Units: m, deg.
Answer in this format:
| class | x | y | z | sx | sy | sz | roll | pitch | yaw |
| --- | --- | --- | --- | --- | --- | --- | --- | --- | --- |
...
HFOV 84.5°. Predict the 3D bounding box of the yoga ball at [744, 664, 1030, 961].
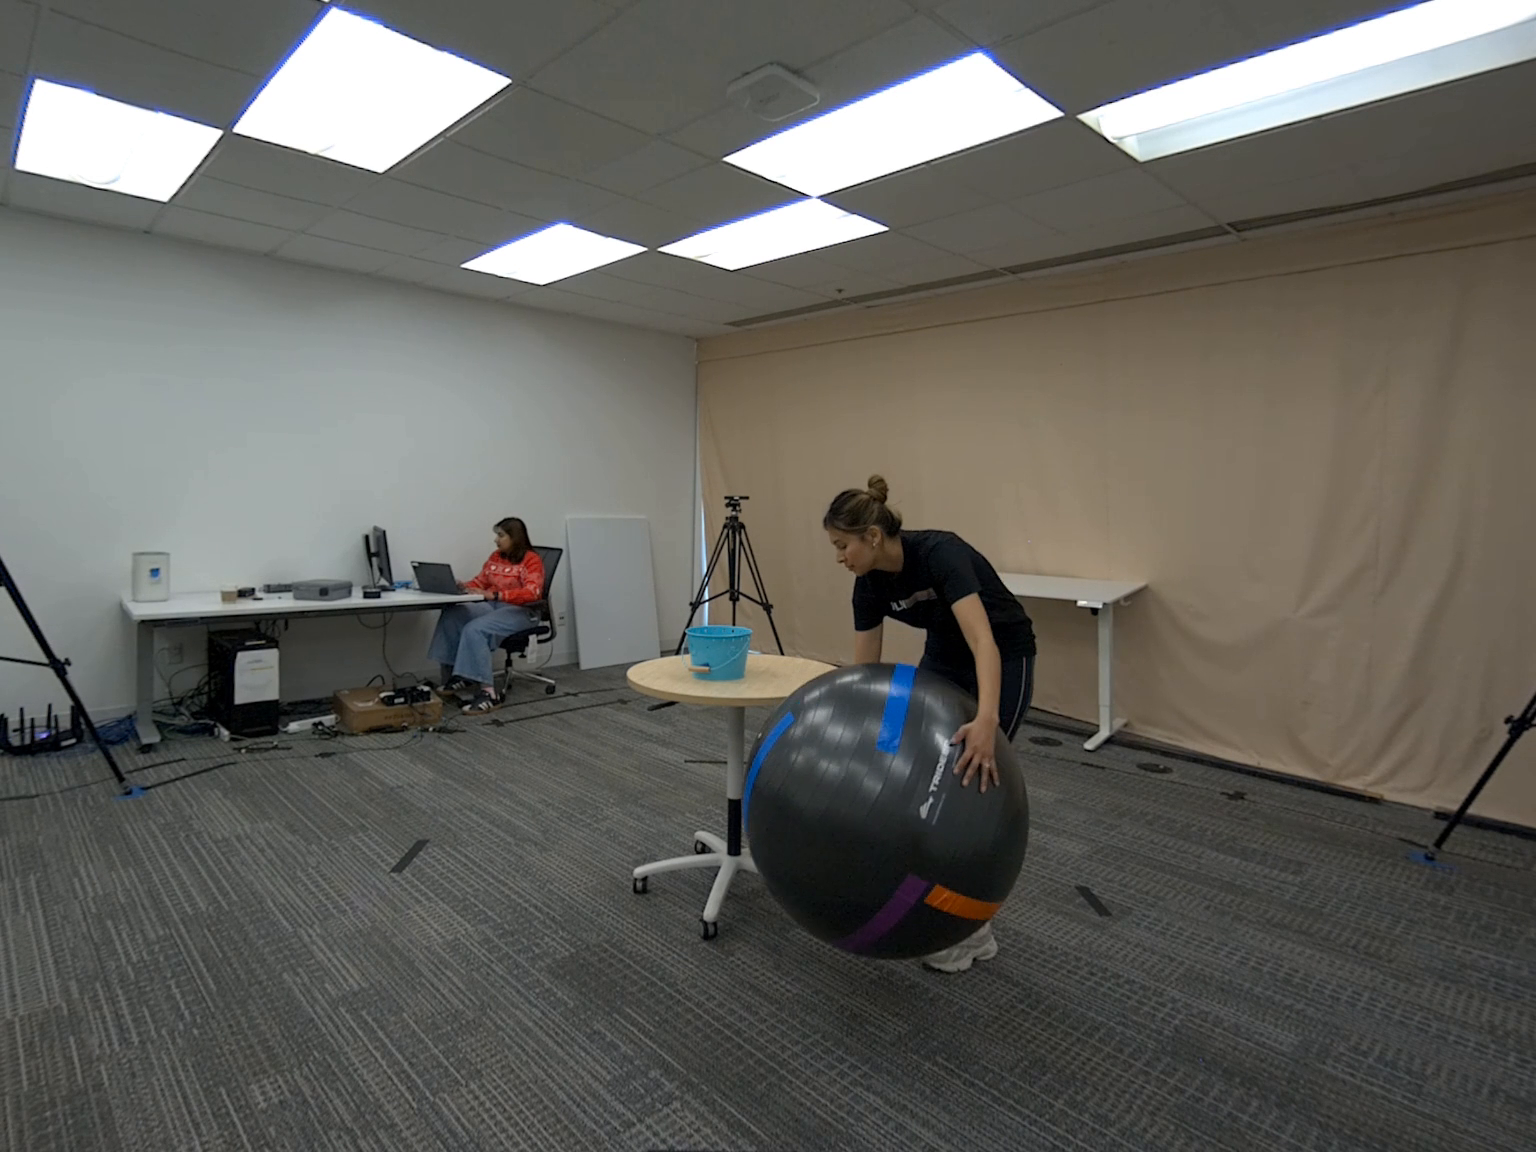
| class | x | y | z | sx | sy | sz | roll | pitch | yaw |
| --- | --- | --- | --- | --- | --- | --- | --- | --- | --- |
| yoga ball | 0.304 | 0.618 | 2.264 | 0.757 | 0.756 | 0.761 | 1 | 4 | -1 |
